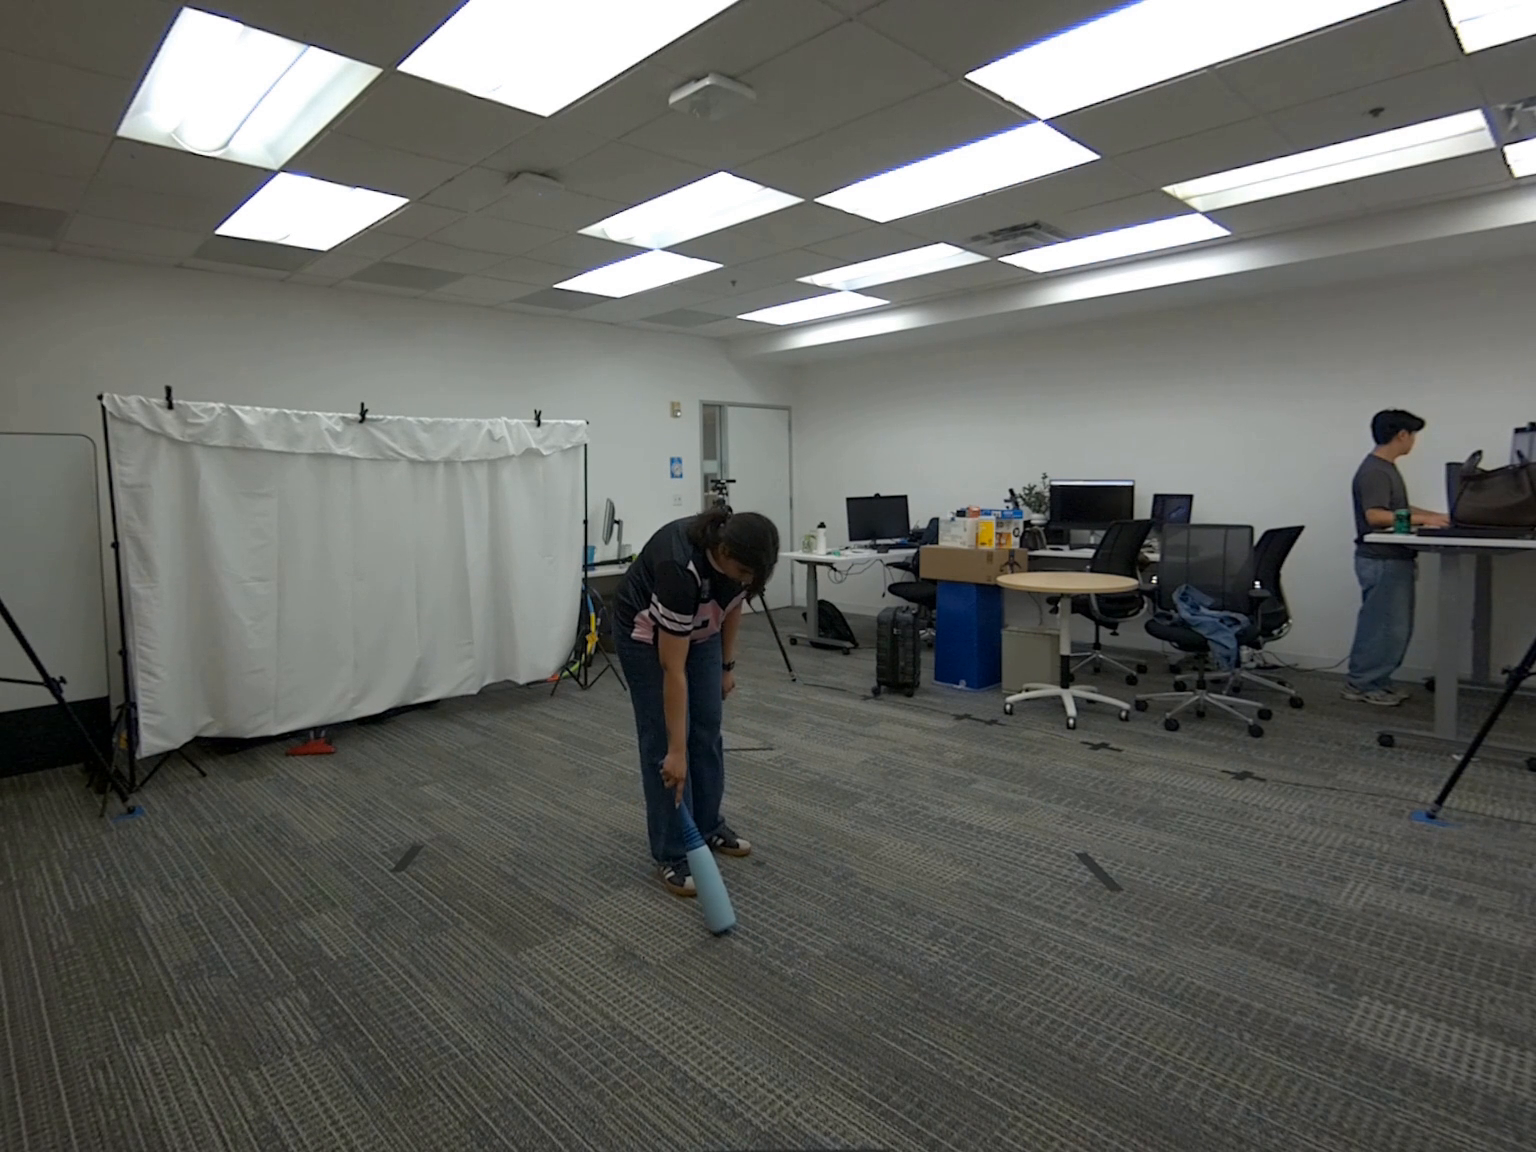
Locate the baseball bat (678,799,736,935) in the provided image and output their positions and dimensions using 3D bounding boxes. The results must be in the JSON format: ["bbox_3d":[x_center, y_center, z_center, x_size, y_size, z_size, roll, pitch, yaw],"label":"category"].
[{"bbox_3d":[-0.231,0.854,2.718,0.088,0.554,0.087,-19,-18,-7],"label":"baseball bat"}]
